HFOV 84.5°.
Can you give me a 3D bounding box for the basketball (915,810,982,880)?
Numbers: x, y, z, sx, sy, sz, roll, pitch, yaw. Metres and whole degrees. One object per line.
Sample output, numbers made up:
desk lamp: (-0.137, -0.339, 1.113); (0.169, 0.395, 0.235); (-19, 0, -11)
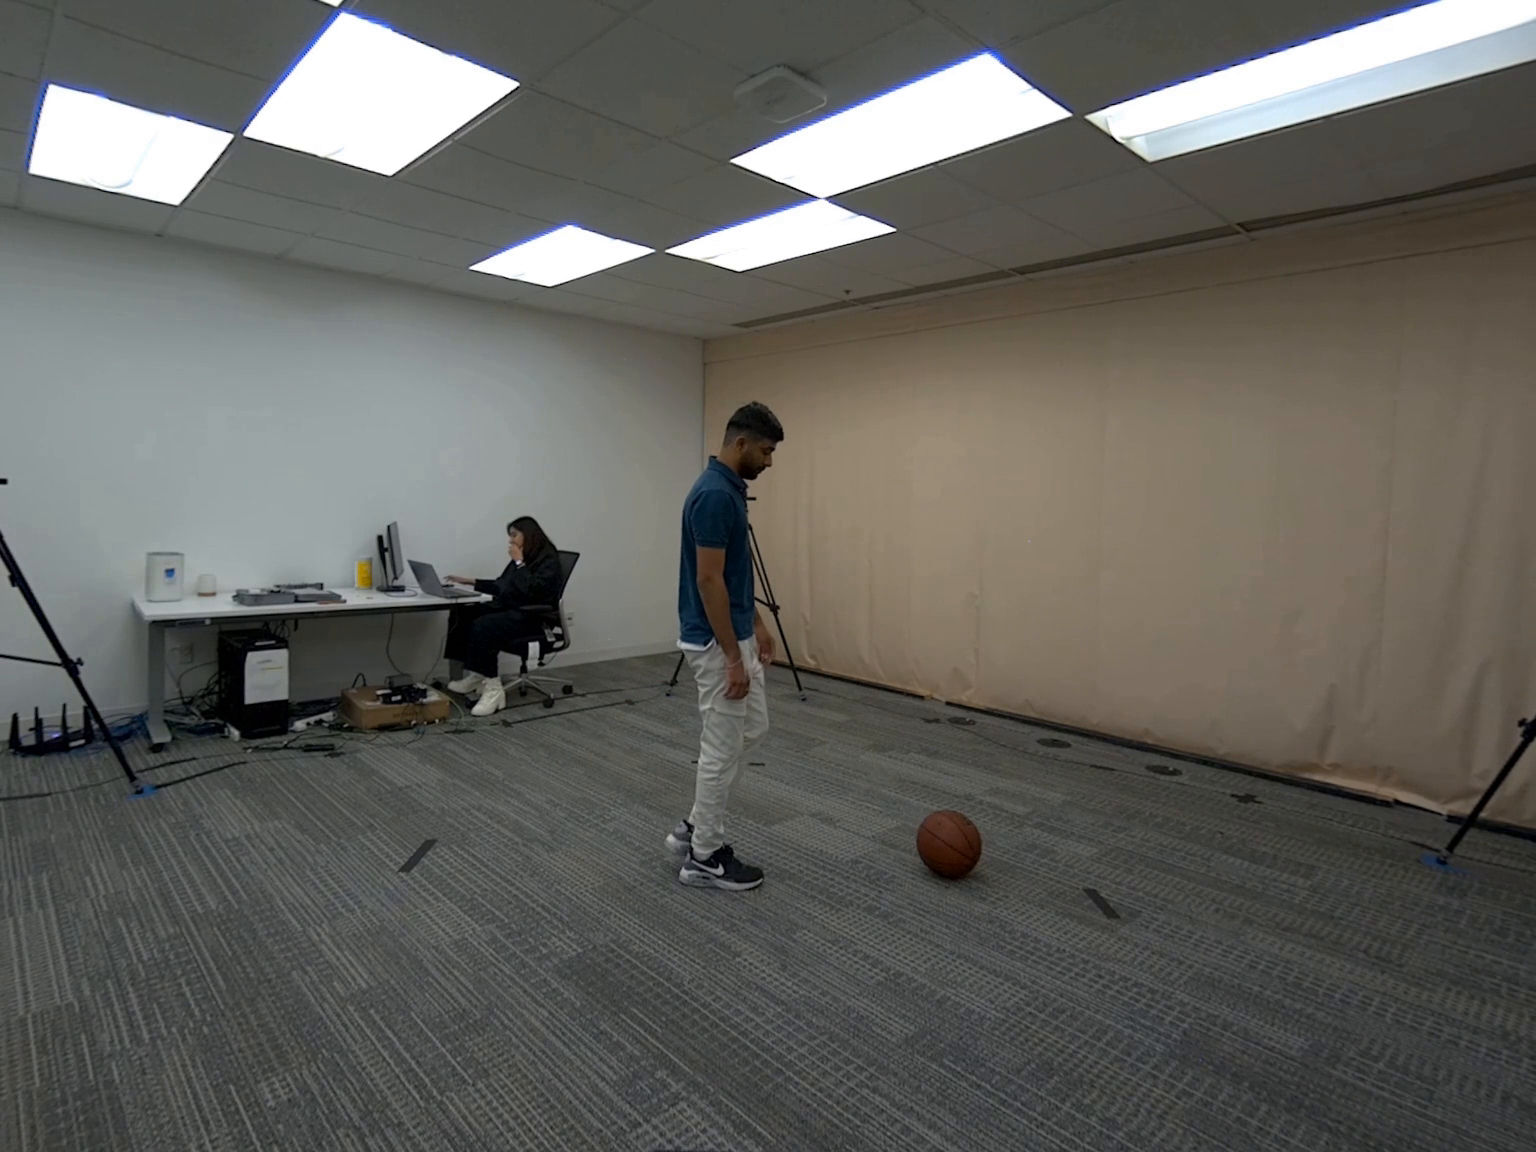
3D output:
basketball: (0.673, 1.002, 3.163); (0.236, 0.235, 0.237); (1, 4, -1)
